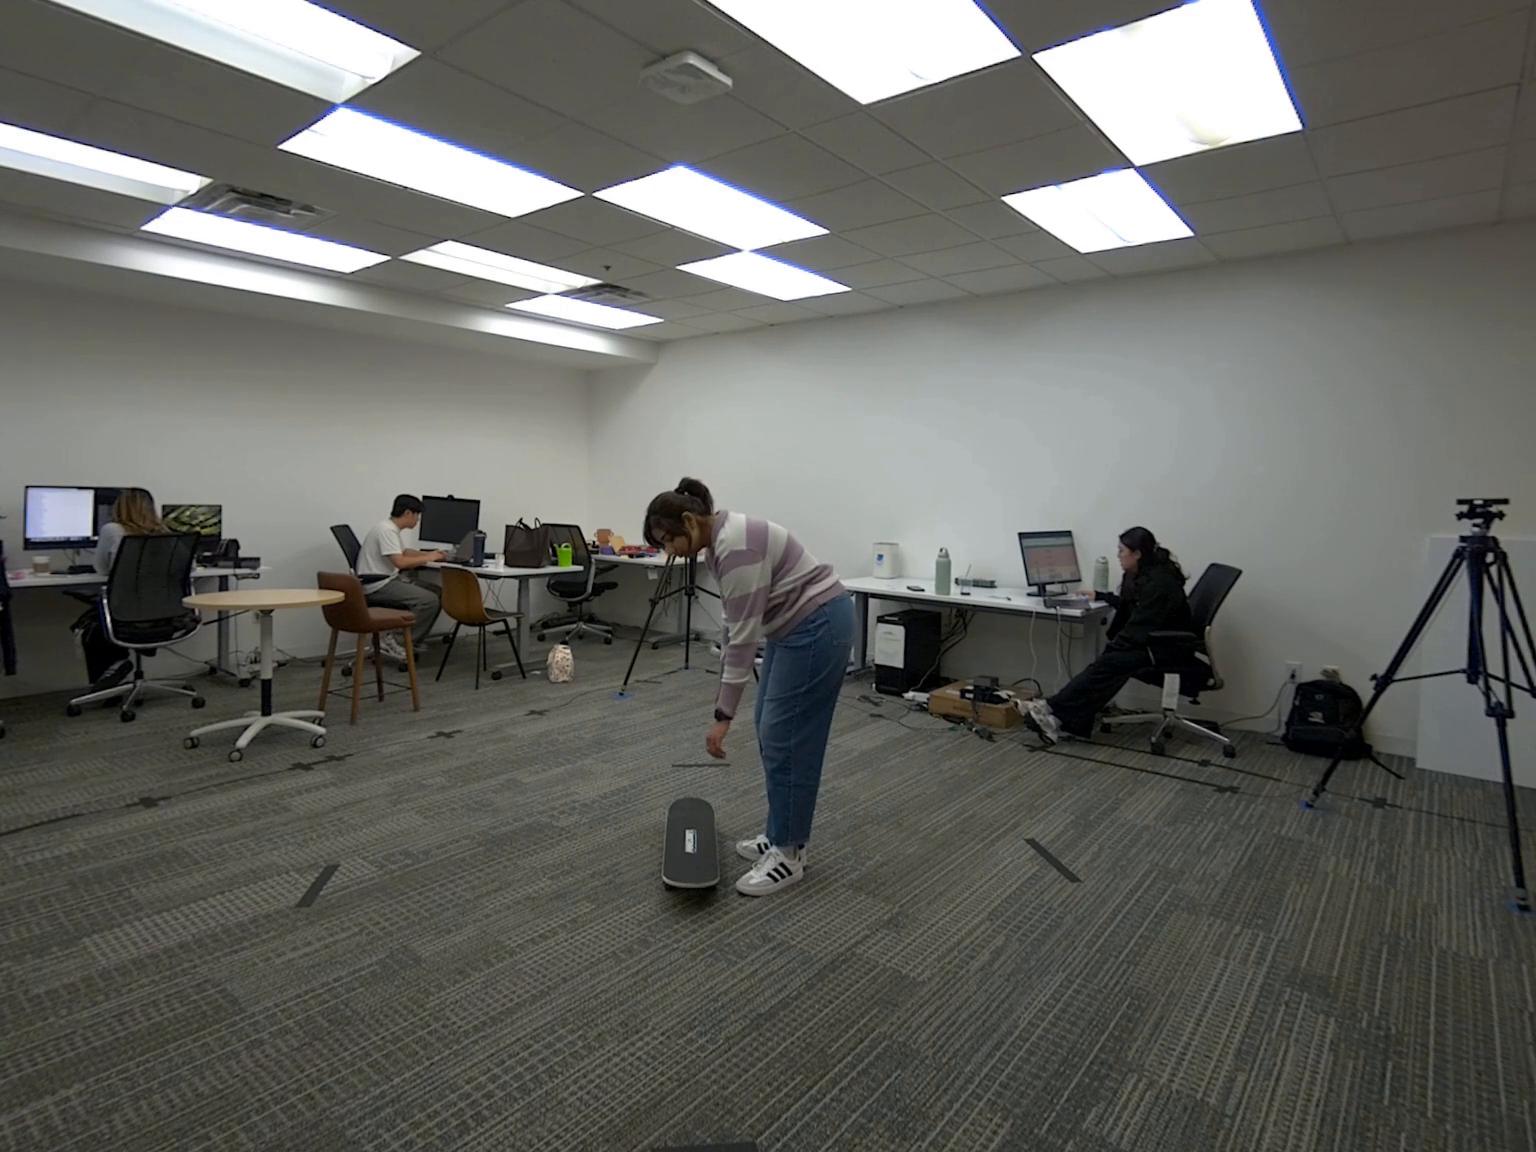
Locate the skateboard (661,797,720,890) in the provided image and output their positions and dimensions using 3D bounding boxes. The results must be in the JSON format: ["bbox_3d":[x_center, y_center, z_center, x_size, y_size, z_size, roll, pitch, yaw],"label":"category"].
[{"bbox_3d":[-0.293,1.003,3.146,0.193,0.110,0.791,1,5,-5],"label":"skateboard"}]
